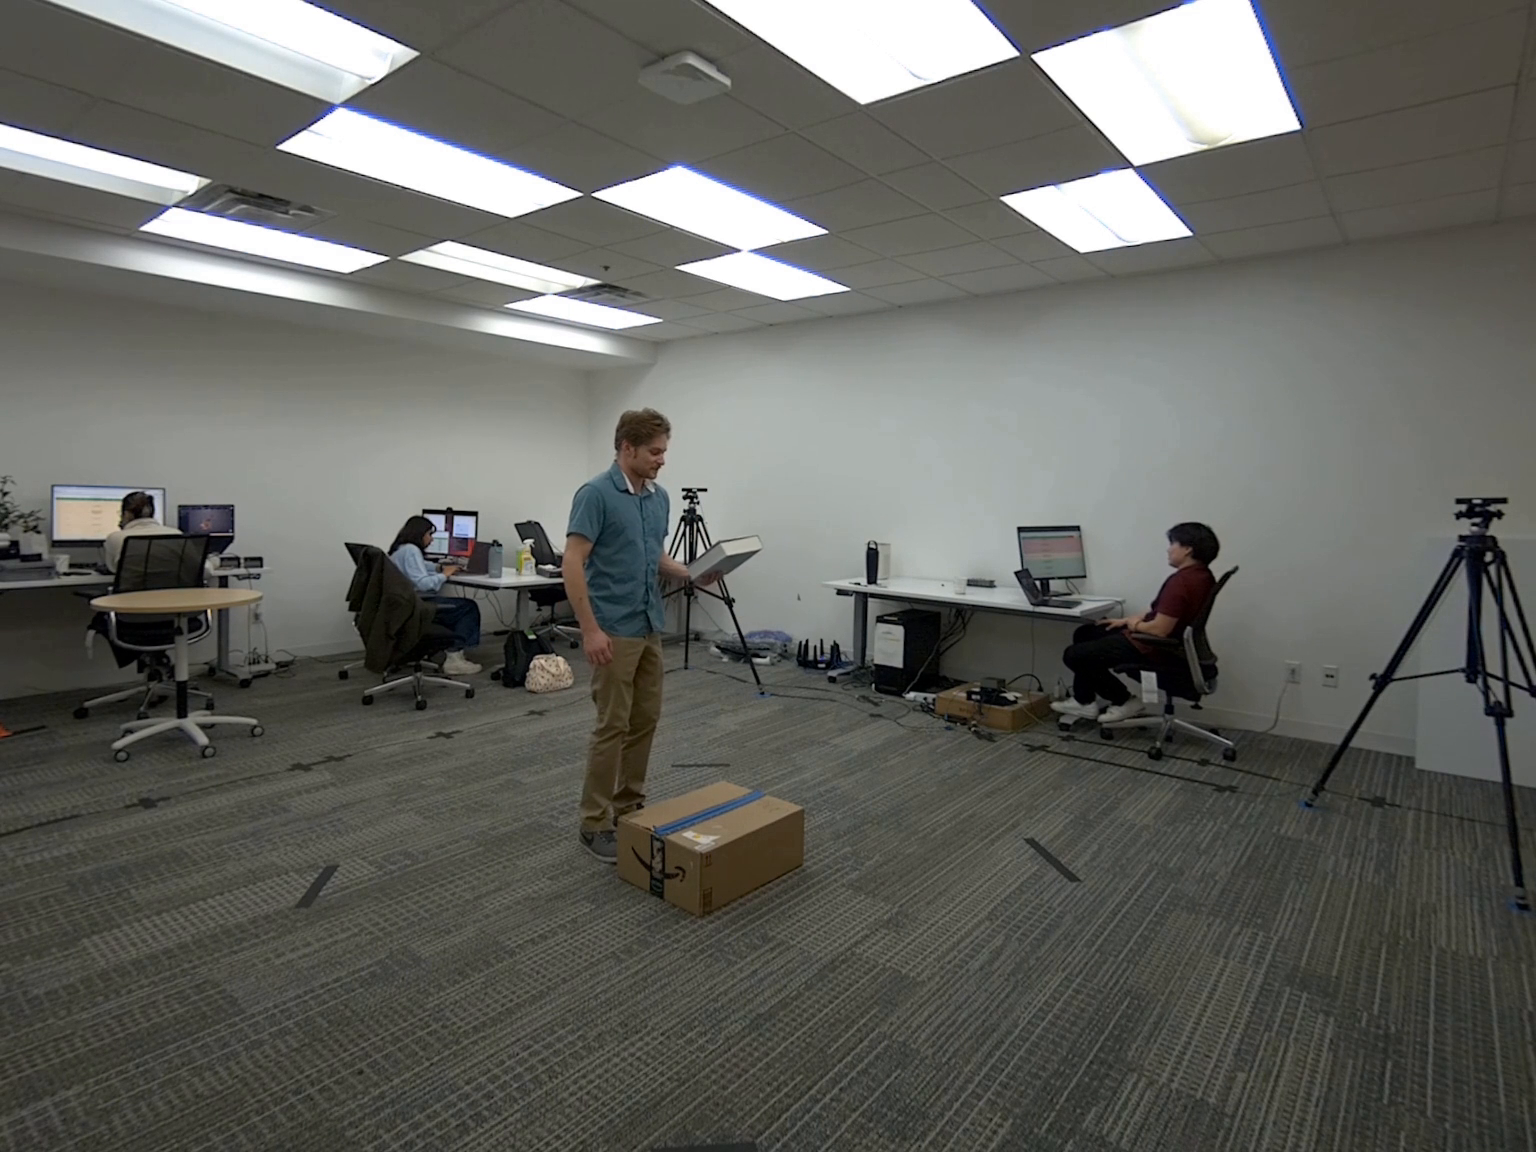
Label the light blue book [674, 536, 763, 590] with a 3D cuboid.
[{"bbox_3d":[-0.182,-0.068,3.253,0.186,0.060,0.263,-12,-14,-40],"label":"light blue book"}]
